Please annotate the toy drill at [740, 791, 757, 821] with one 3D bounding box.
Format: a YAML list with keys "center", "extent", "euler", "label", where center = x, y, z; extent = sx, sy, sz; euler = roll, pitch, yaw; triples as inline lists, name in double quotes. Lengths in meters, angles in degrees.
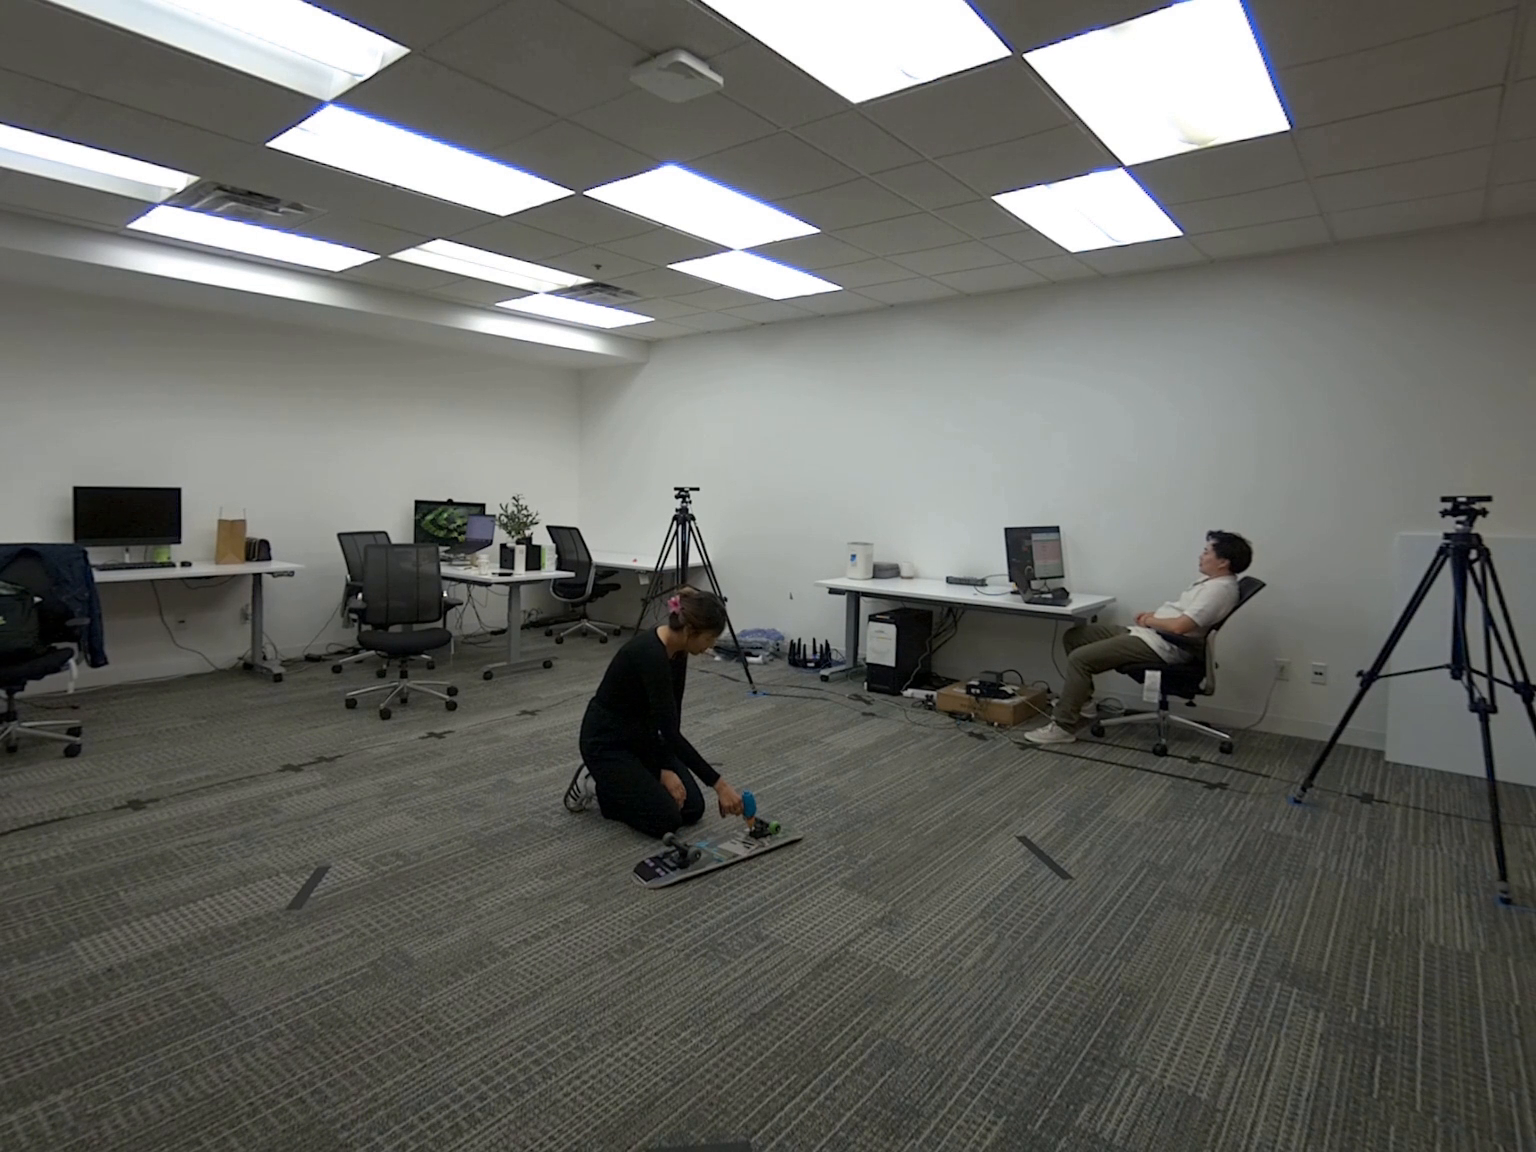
- center: [-0.119, 0.925, 3.317]
  extent: [0.145, 0.167, 0.063]
  euler: [-8, 18, -9]
  label: "toy drill"
